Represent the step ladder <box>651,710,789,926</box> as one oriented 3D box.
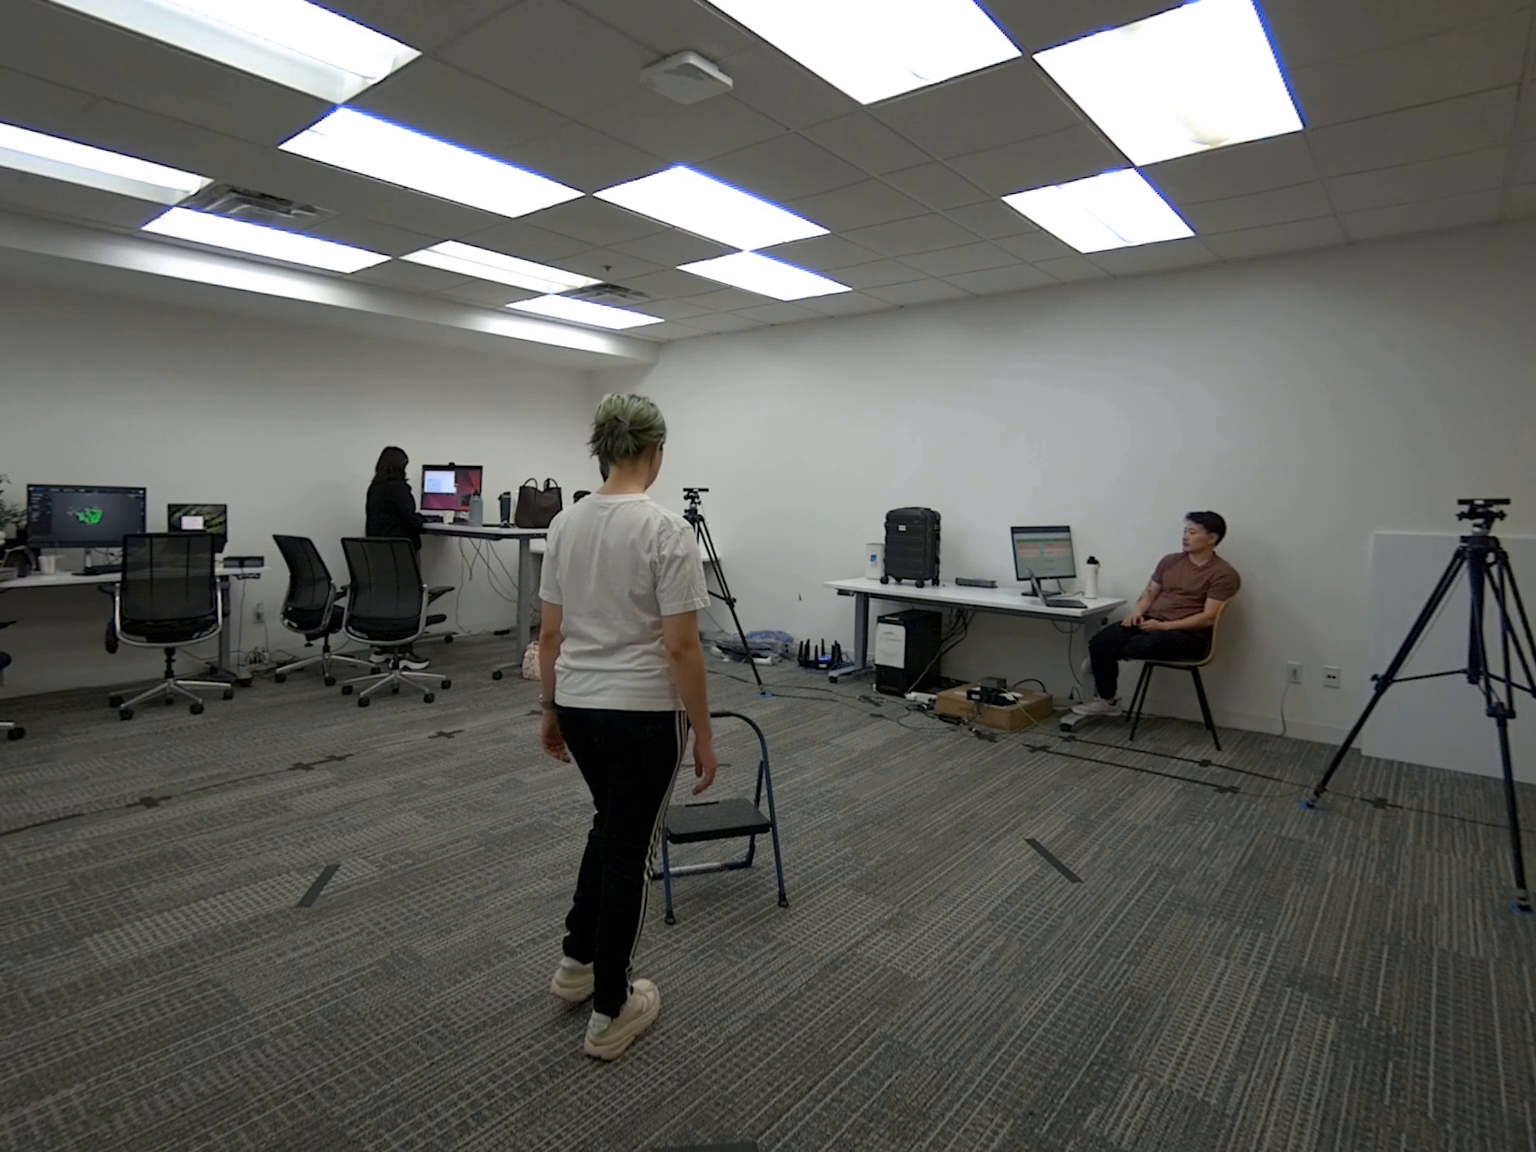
[{"bbox_3d":[-0.190,0.786,2.922,0.422,0.604,0.357,0,3,-21],"label":"step ladder"}]
